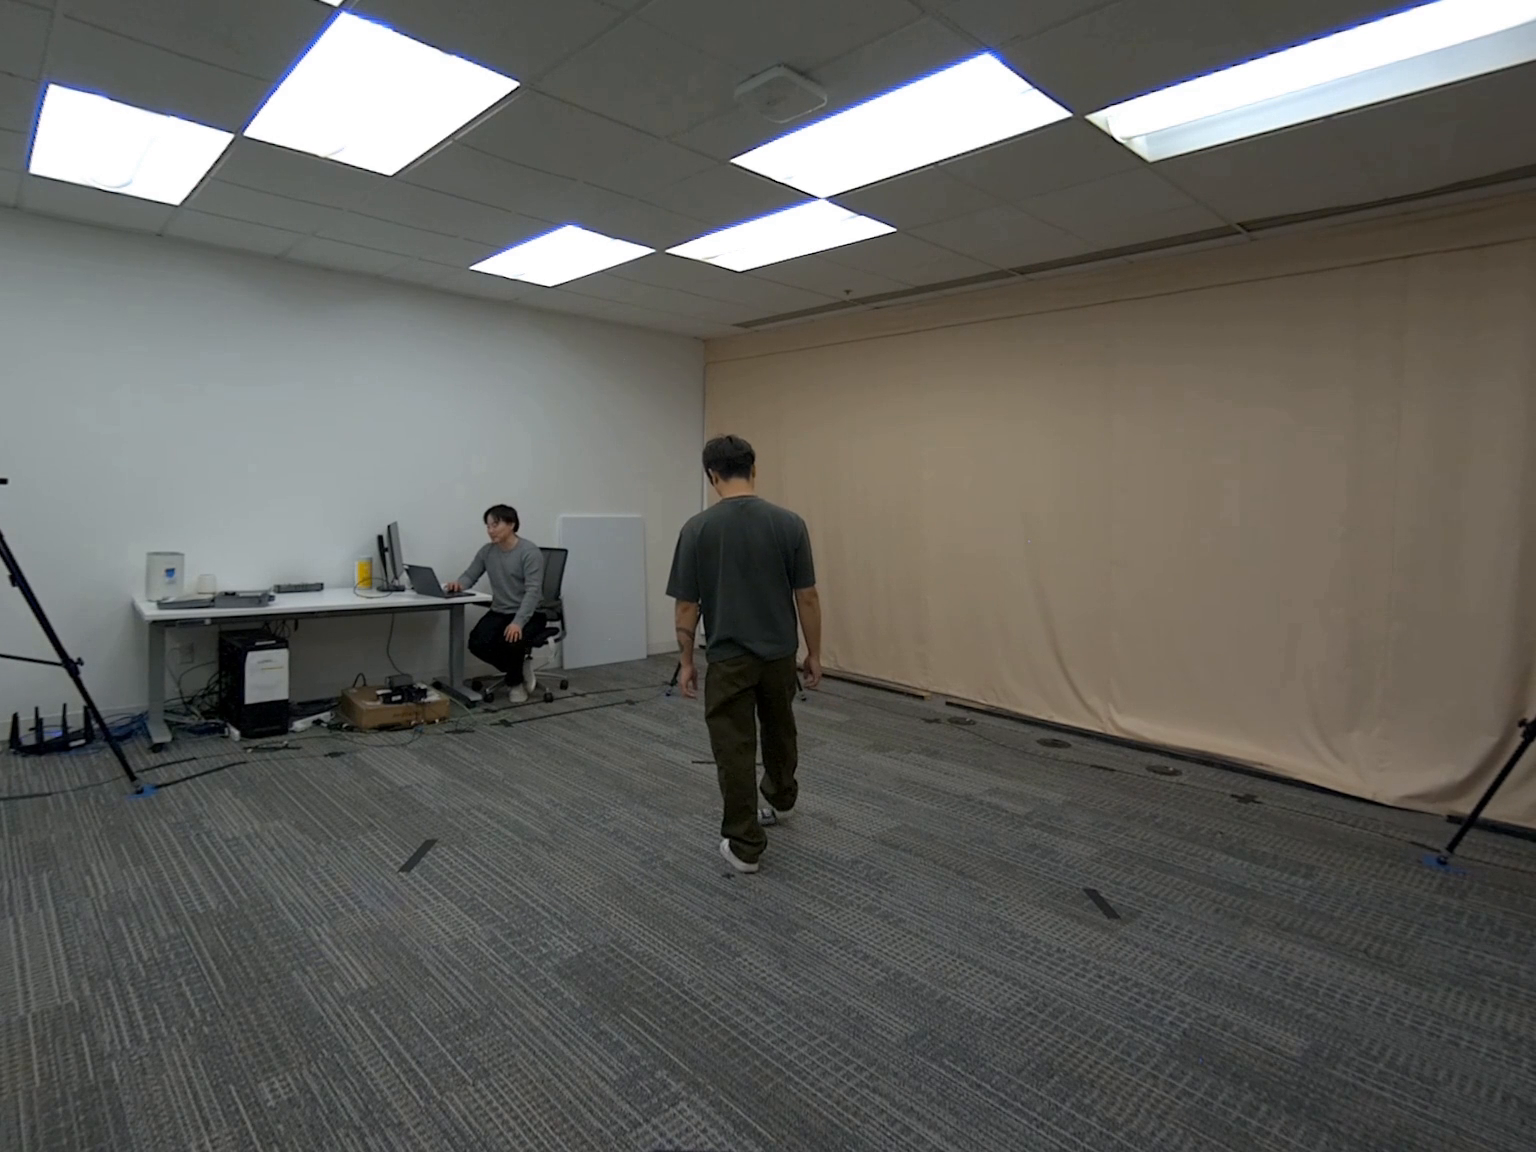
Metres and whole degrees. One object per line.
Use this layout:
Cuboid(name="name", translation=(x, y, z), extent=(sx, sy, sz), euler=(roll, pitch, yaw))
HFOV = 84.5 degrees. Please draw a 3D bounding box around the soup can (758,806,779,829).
Cuboid(name="soup can", translation=(-0.024, 1.022, 3.610), extent=(0.120, 0.067, 0.068), euler=(0, 4, -12))
